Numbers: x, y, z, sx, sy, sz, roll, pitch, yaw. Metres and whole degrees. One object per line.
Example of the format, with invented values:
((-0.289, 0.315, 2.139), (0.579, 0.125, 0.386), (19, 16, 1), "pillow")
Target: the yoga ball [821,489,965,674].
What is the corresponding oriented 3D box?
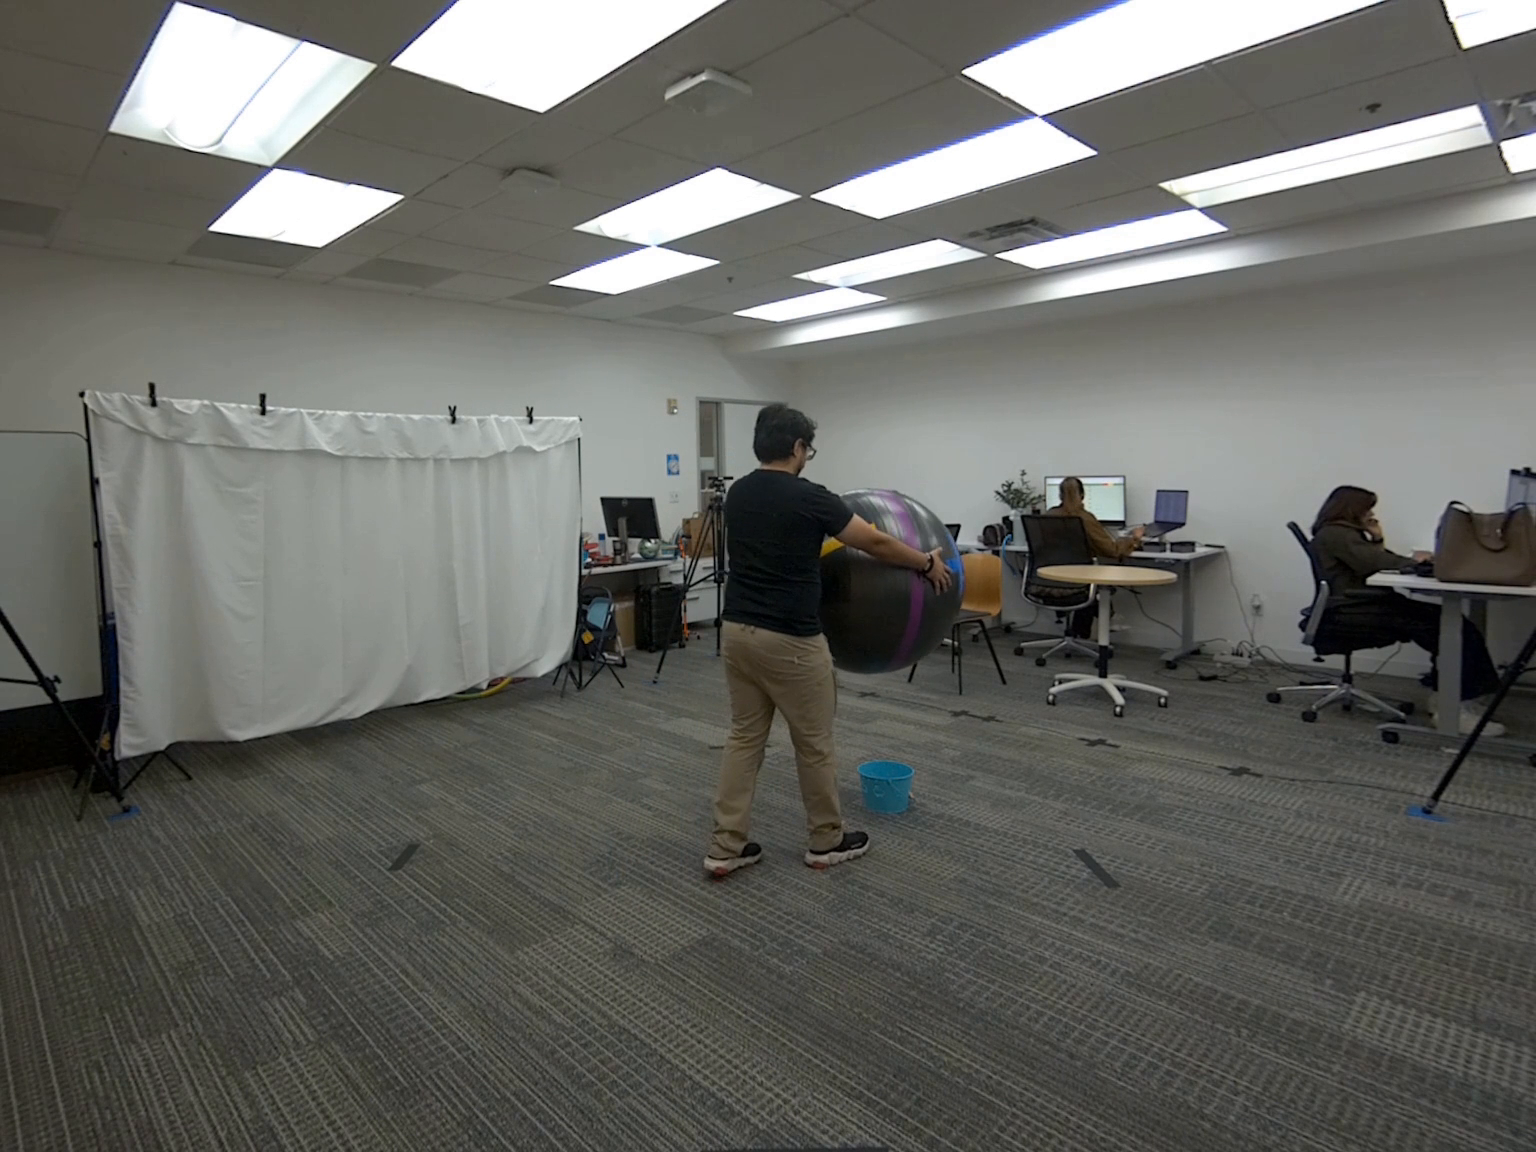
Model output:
((0.425, 0.029, 3.515), (0.757, 0.755, 0.762), (-1, 5, -2), "yoga ball")
